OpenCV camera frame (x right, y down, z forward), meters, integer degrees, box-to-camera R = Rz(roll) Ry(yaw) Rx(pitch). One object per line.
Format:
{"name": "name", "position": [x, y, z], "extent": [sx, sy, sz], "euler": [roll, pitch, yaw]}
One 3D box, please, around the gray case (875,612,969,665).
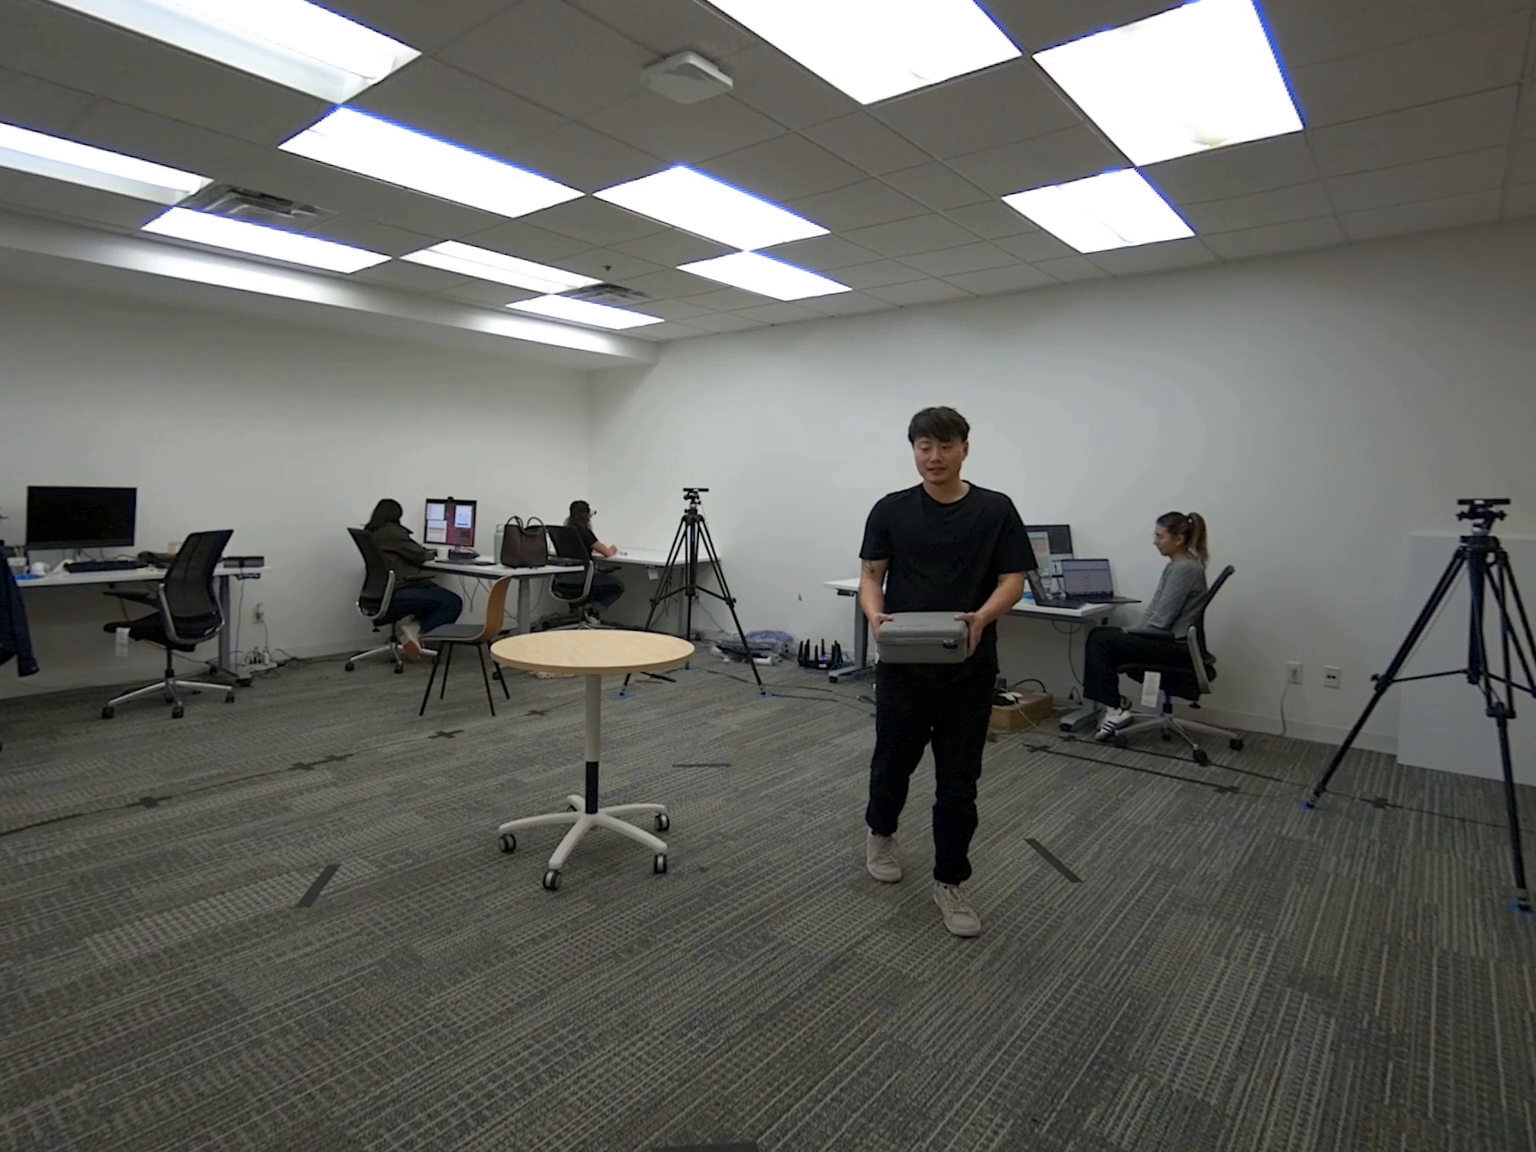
{"name": "gray case", "position": [0.474, 0.179, 2.572], "extent": [0.261, 0.104, 0.257], "euler": [-4, 7, 18]}
